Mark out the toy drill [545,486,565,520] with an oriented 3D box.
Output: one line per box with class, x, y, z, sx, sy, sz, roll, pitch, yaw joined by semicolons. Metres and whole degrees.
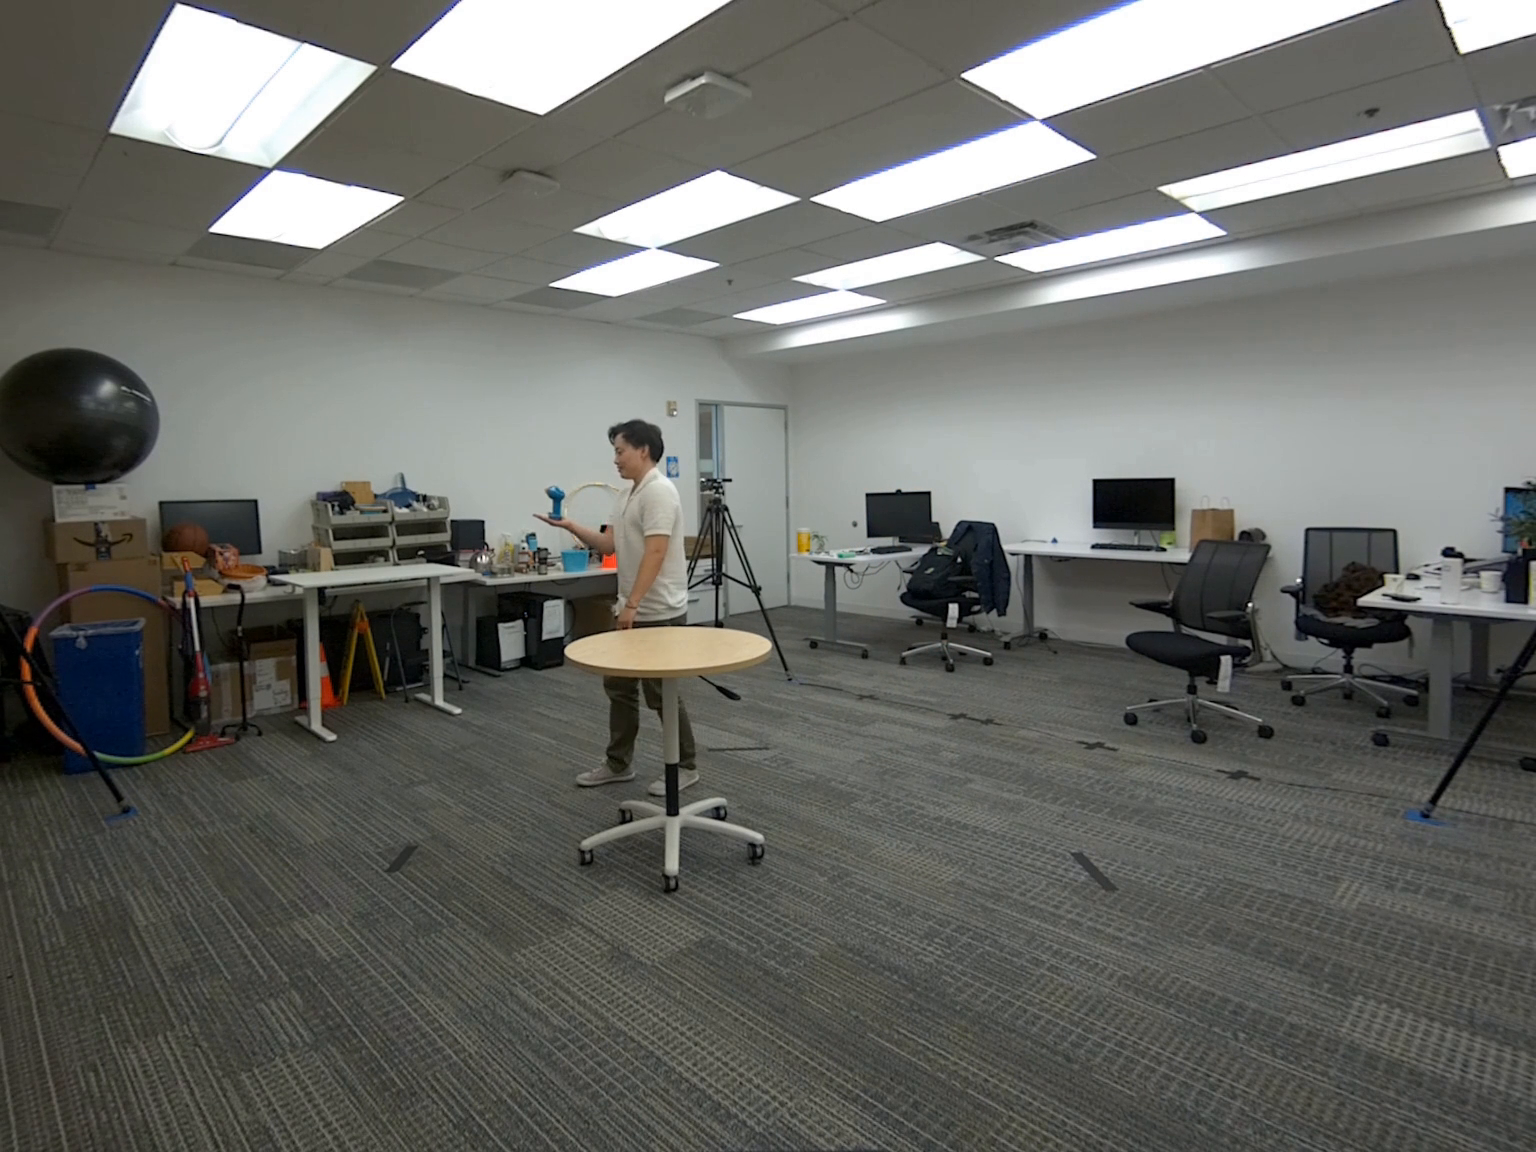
toy drill;-0.965;-0.336;3.821;0.176;0.145;0.059;19;12;41
